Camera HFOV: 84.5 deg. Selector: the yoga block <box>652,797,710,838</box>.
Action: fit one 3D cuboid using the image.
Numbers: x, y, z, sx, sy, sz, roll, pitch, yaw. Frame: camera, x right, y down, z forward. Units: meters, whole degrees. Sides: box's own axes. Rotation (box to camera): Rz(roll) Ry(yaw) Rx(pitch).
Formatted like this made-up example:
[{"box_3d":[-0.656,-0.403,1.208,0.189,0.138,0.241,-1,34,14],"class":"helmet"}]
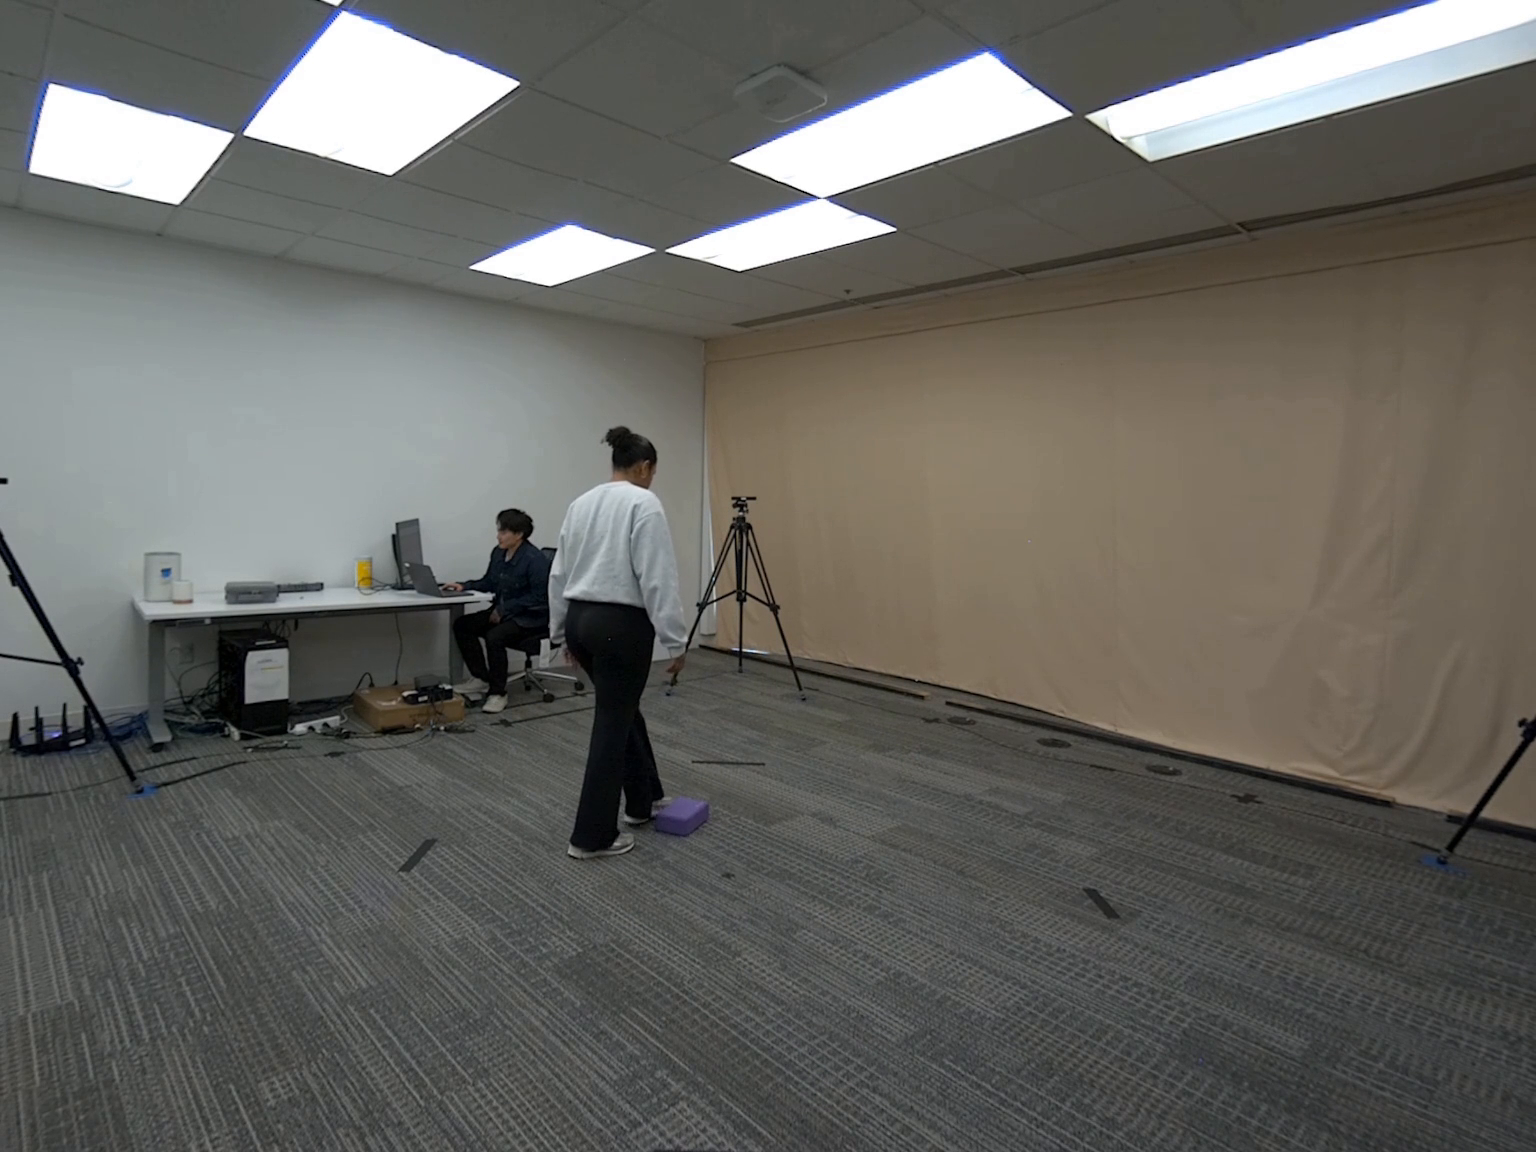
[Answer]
[{"box_3d":[-0.384,1.017,3.583,0.151,0.076,0.226,4,5,21],"class":"yoga block"}]
